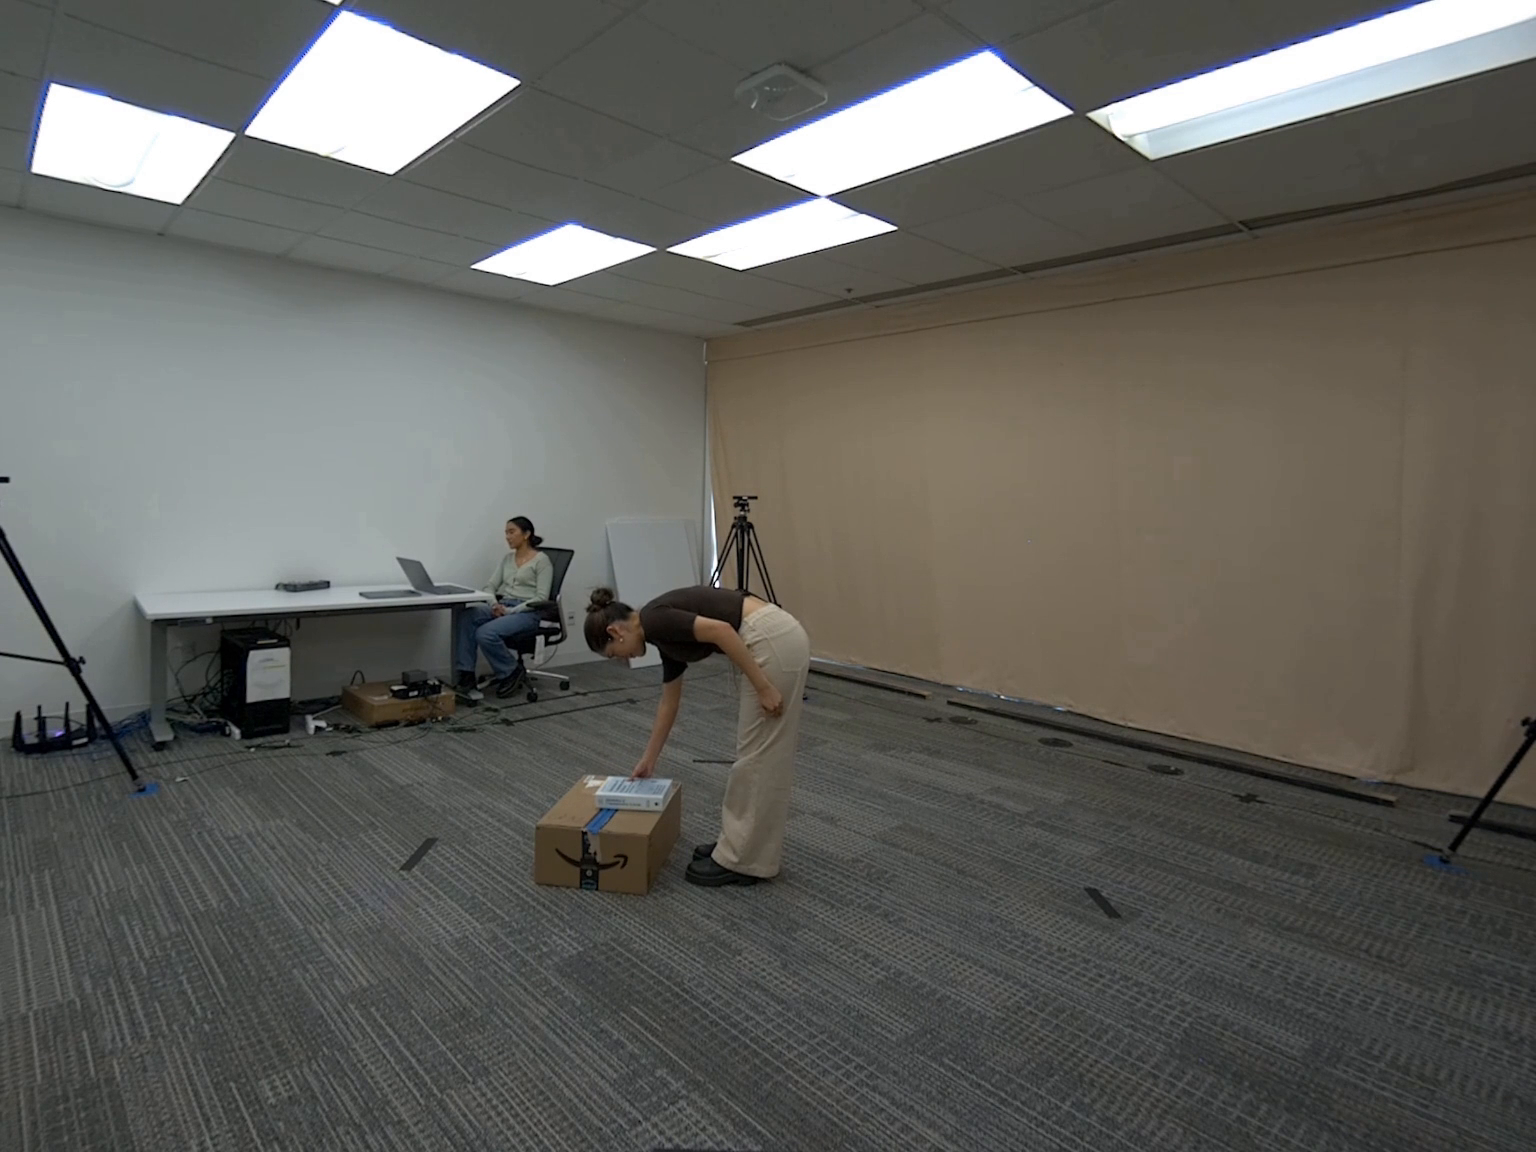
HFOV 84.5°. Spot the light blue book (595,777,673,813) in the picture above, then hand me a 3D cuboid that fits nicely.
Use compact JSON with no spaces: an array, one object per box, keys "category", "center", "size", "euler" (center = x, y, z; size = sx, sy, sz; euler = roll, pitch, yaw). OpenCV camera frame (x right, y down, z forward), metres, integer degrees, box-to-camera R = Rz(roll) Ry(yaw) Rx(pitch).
[{"category":"light blue book","center":[-0.516,0.838,3.238],"size":[0.263,0.059,0.191],"euler":[1,6,8]}]
